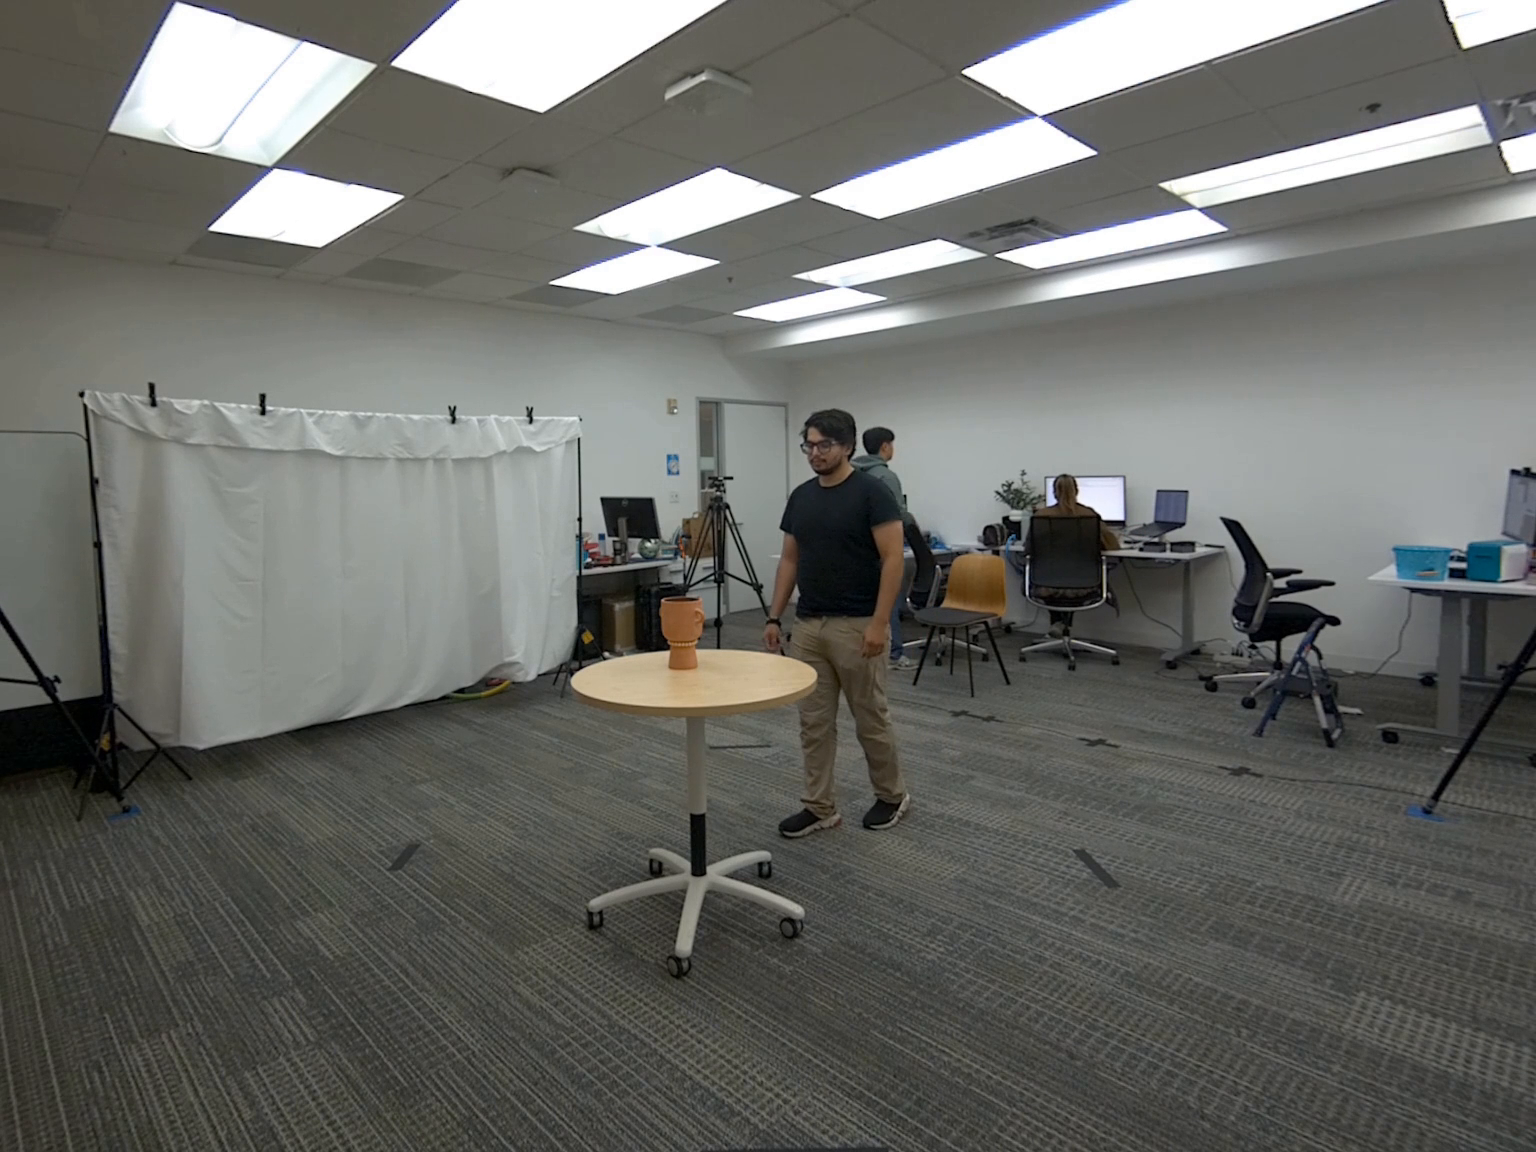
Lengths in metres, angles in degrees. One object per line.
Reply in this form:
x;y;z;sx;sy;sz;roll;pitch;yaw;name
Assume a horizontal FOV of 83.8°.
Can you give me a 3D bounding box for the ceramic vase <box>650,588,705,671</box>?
-0.278;0.189;2.777;0.133;0.219;0.161;-2;4;-11;ceramic vase
